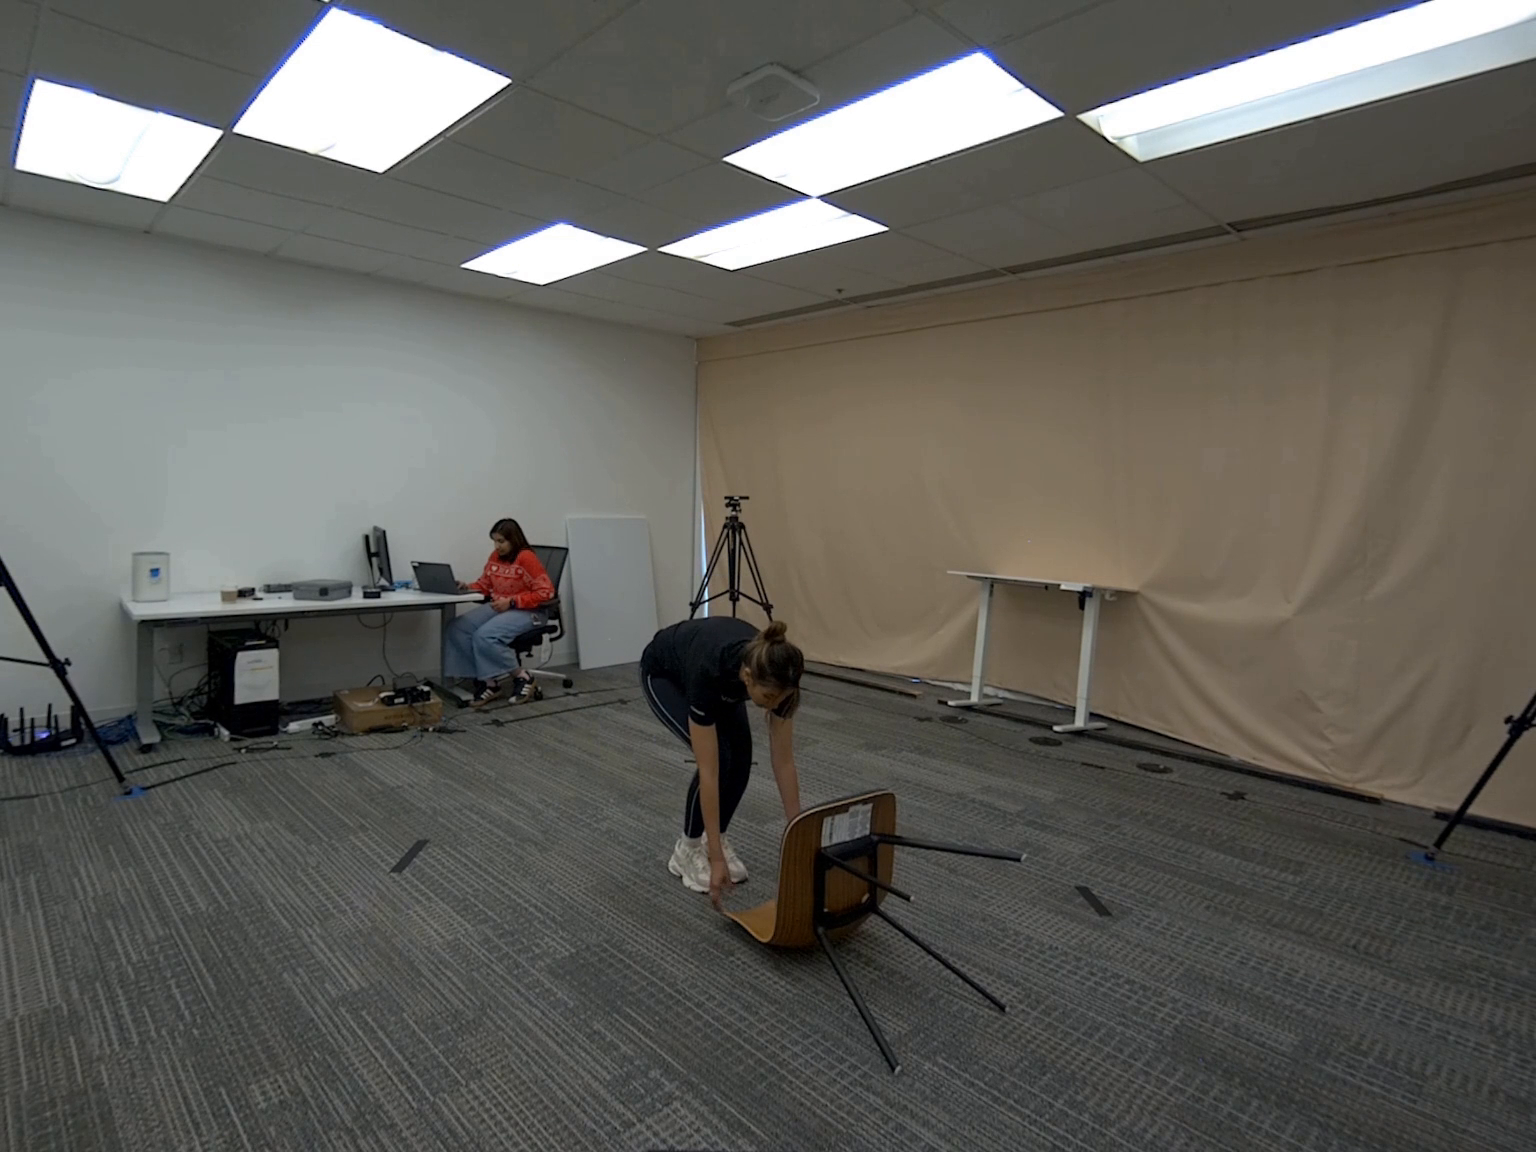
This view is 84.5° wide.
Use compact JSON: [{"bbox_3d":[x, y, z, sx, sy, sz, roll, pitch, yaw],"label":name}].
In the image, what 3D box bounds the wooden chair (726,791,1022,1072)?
[{"bbox_3d":[0.232,0.905,2.505,0.467,0.522,0.899,-2,5,-38],"label":"wooden chair"}]
